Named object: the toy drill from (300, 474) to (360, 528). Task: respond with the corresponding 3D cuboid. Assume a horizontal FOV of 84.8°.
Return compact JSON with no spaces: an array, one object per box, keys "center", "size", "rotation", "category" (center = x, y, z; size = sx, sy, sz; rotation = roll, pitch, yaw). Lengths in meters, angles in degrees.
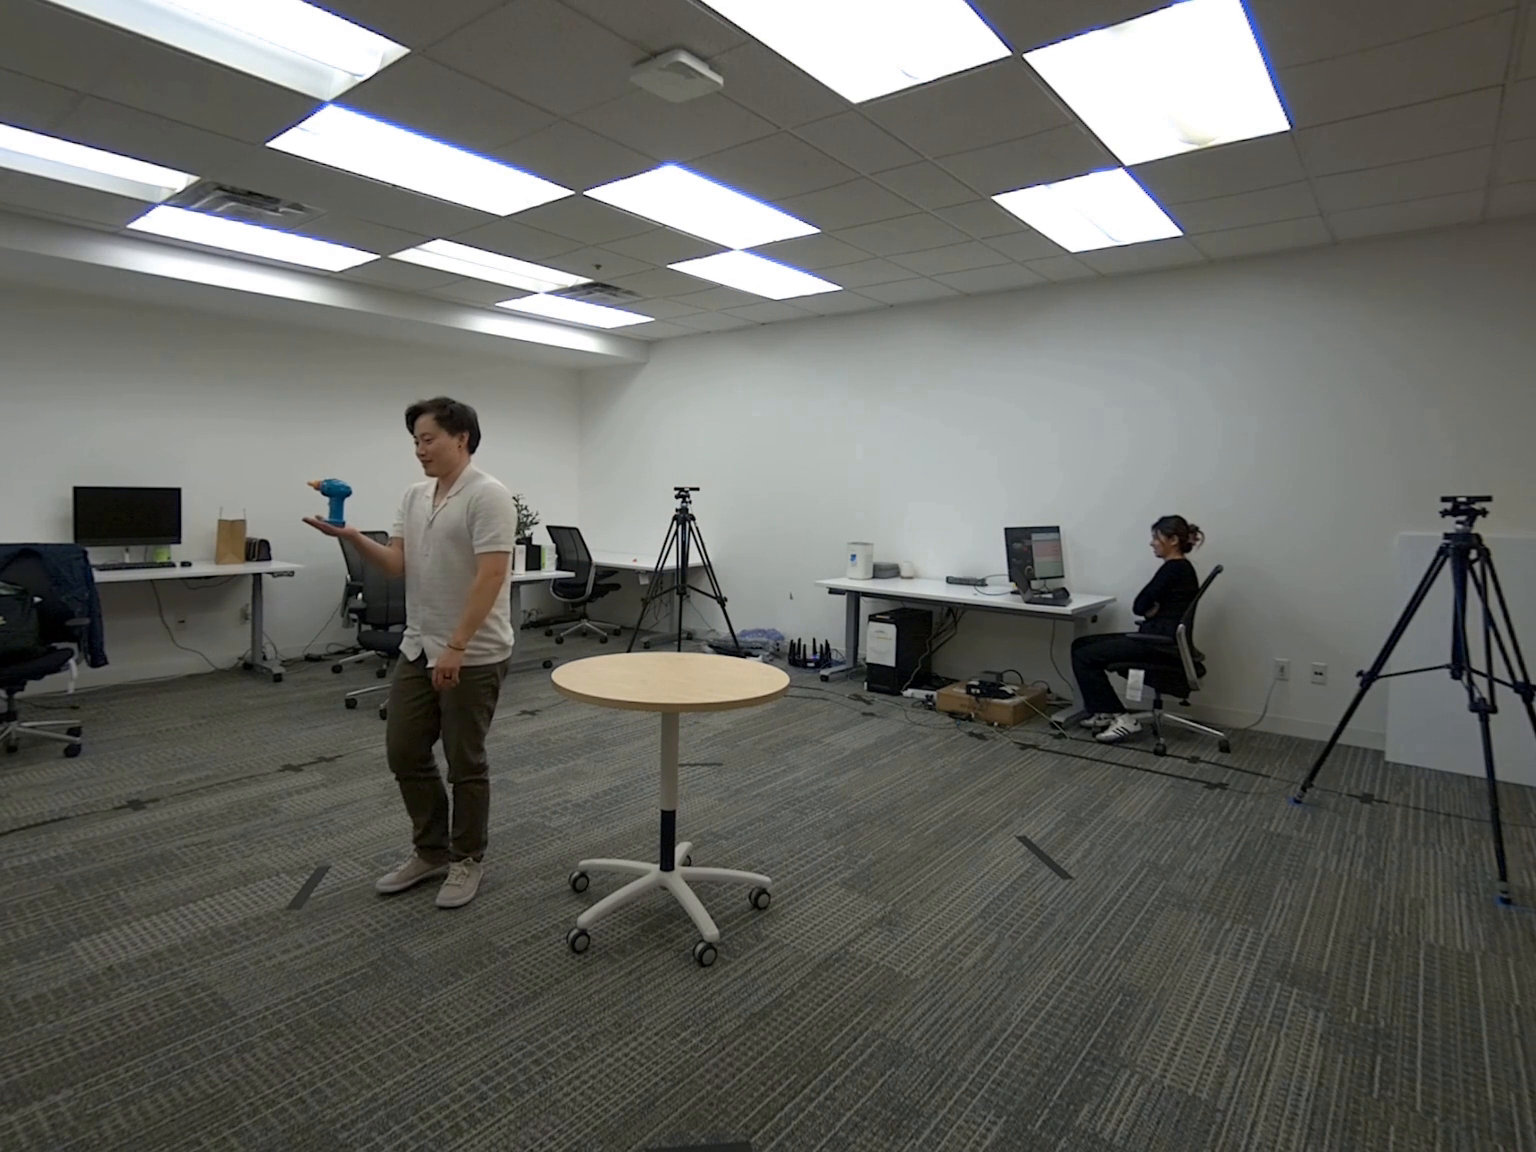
[{"center":[-1.379,-0.237,2.645],"size":[0.173,0.145,0.060],"rotation":[10,10,19],"category":"toy drill"}]
